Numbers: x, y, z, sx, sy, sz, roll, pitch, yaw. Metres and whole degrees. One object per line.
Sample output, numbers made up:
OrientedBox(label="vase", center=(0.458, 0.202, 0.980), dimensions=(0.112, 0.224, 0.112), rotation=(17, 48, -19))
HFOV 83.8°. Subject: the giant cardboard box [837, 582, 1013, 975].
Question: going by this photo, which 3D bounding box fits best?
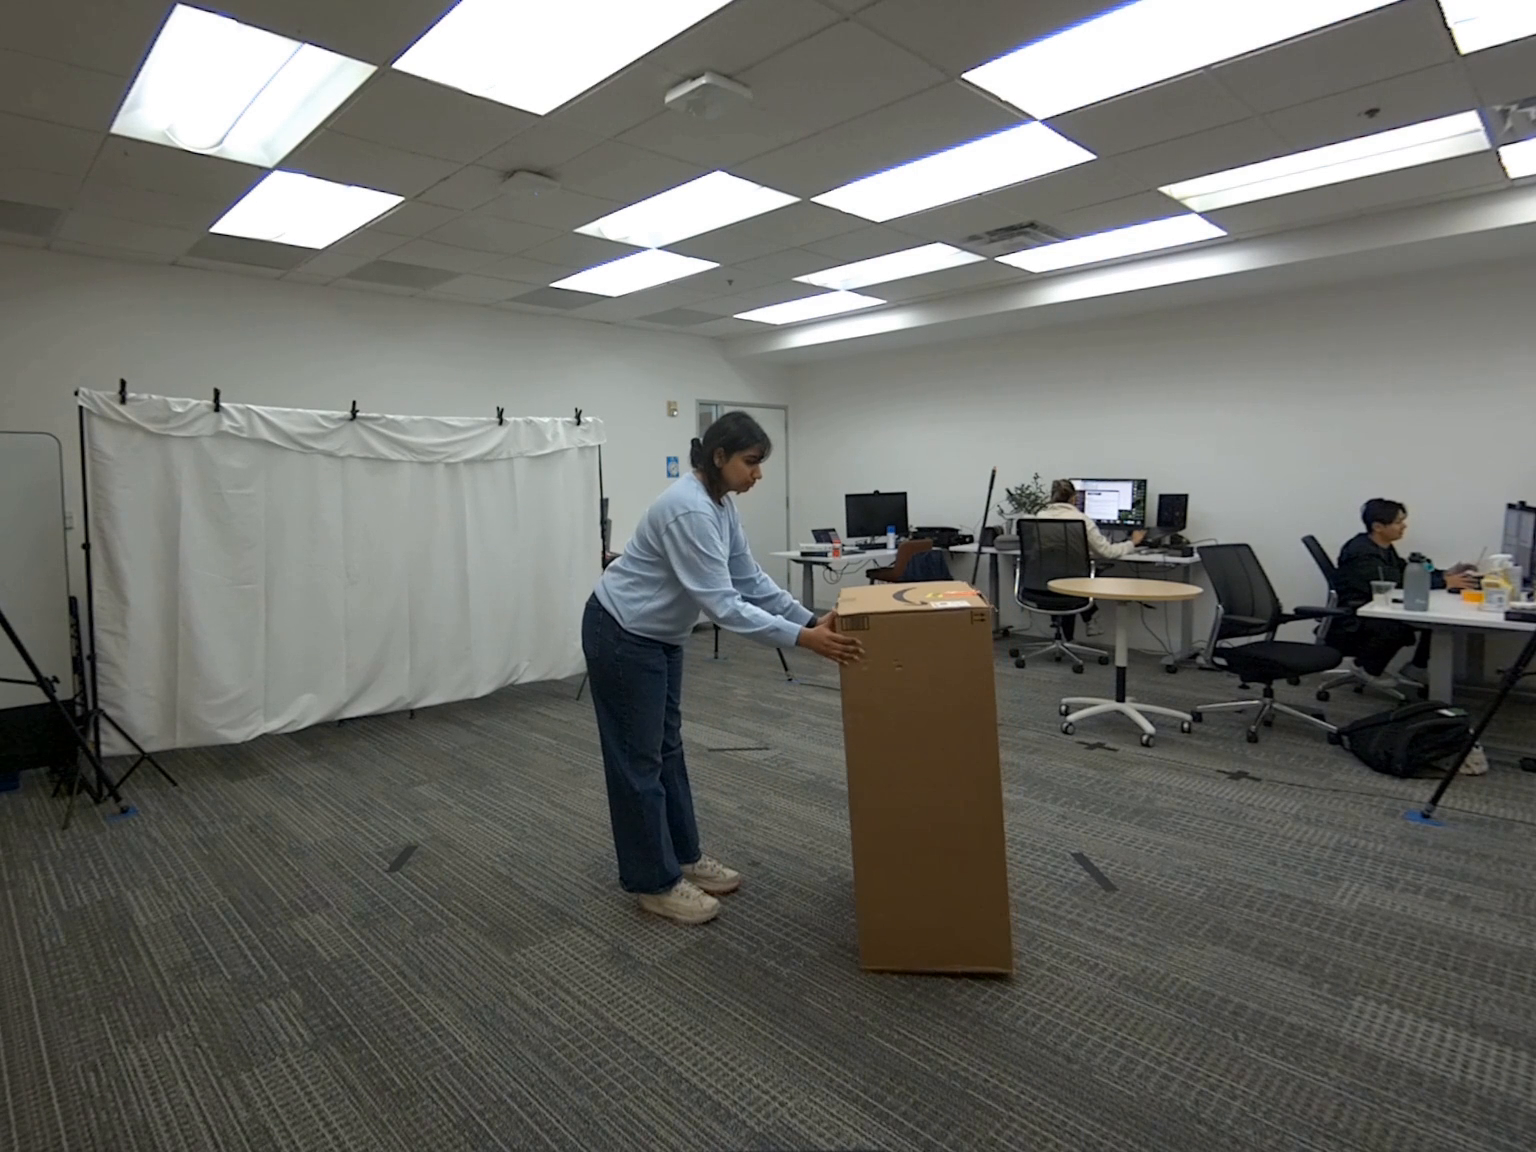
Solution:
OrientedBox(label="giant cardboard box", center=(0.463, 0.566, 2.634), dimensions=(0.430, 1.023, 0.574), rotation=(-4, 3, 8))
